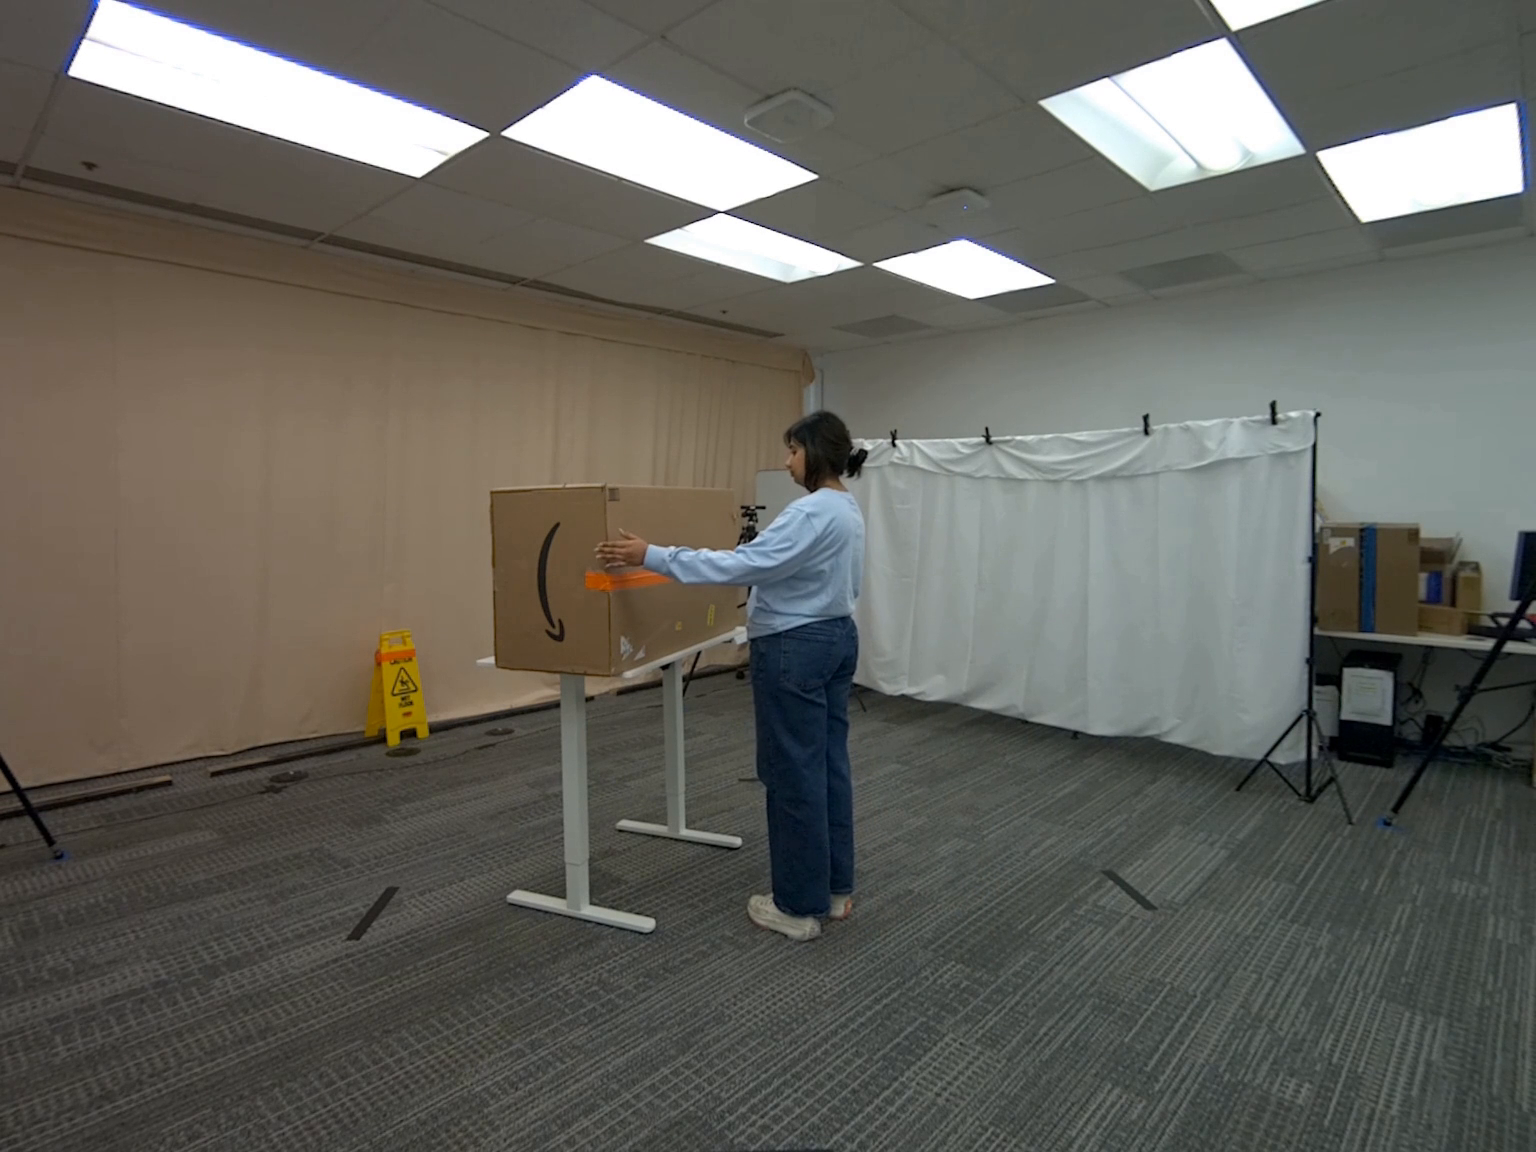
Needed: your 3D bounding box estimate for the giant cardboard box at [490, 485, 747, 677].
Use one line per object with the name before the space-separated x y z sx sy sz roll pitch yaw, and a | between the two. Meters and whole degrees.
giant cardboard box | -0.507 -0.025 3.066 0.436 0.576 1.004 1 5 22
